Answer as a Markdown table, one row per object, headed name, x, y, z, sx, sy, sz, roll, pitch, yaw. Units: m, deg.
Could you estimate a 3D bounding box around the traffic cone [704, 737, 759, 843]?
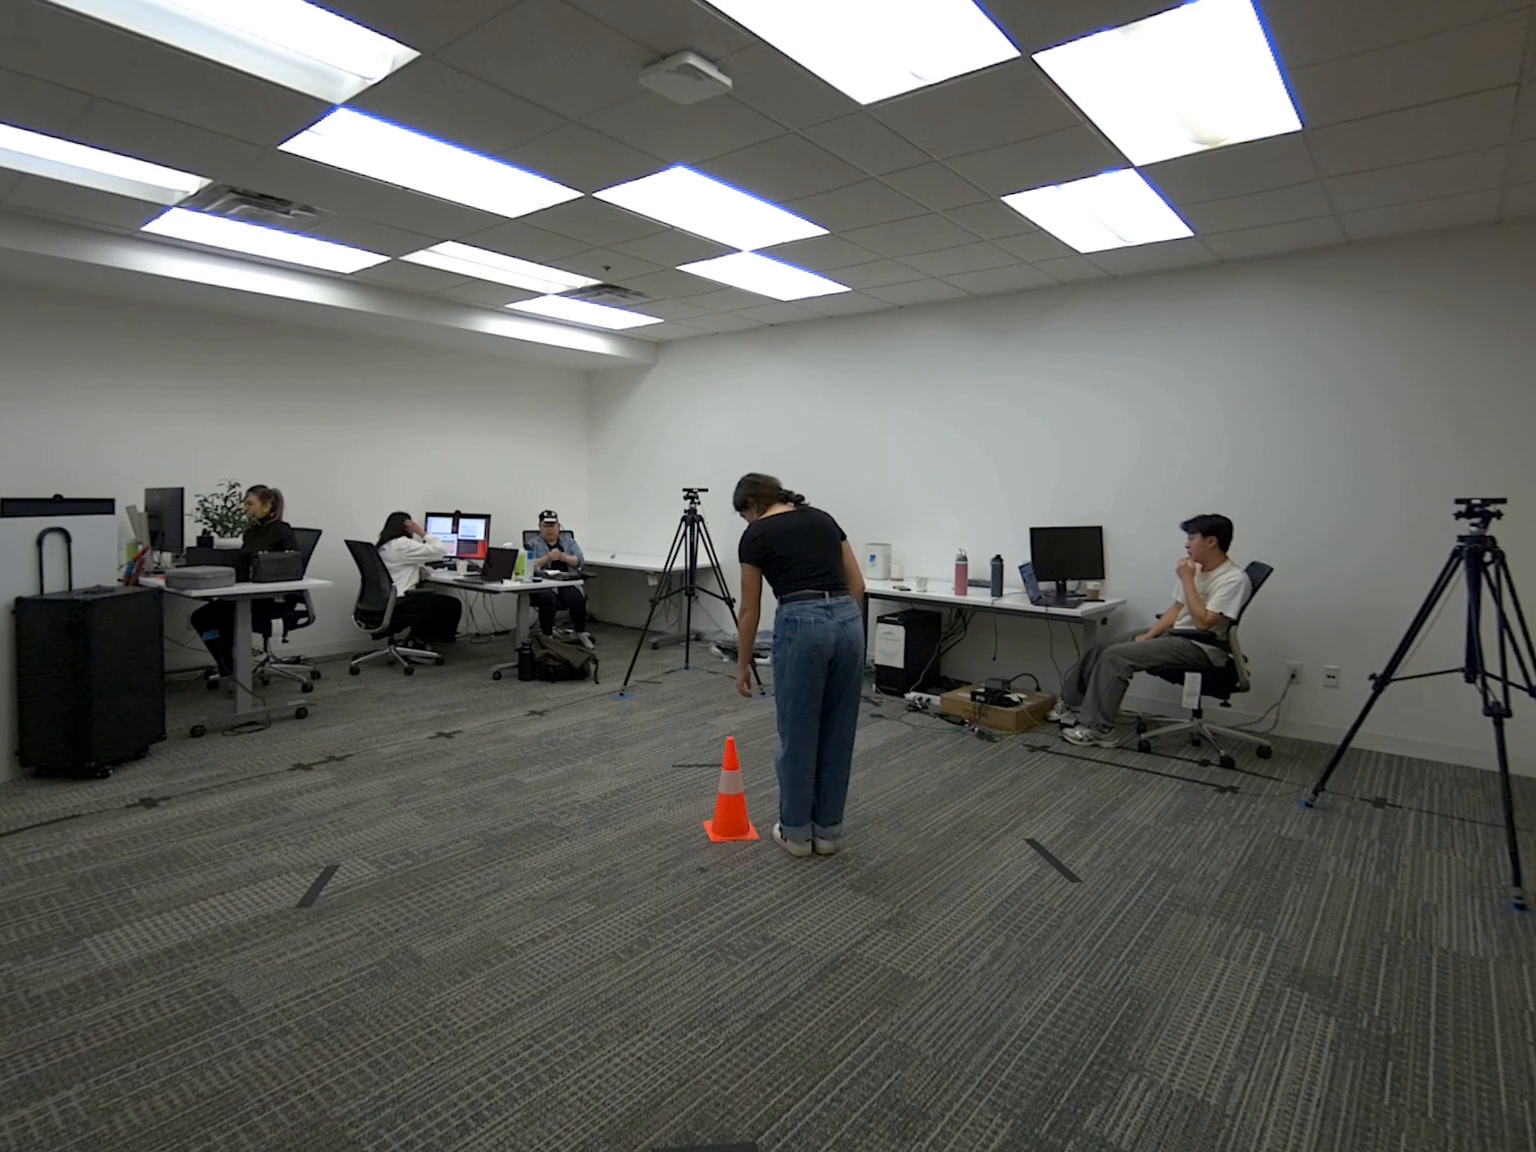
| name | x | y | z | sx | sy | sz | roll | pitch | yaw |
| --- | --- | --- | --- | --- | --- | --- | --- | --- | --- |
| traffic cone | -0.150 | 0.846 | 3.464 | 0.201 | 0.382 | 0.208 | -1 | 5 | -9 |
